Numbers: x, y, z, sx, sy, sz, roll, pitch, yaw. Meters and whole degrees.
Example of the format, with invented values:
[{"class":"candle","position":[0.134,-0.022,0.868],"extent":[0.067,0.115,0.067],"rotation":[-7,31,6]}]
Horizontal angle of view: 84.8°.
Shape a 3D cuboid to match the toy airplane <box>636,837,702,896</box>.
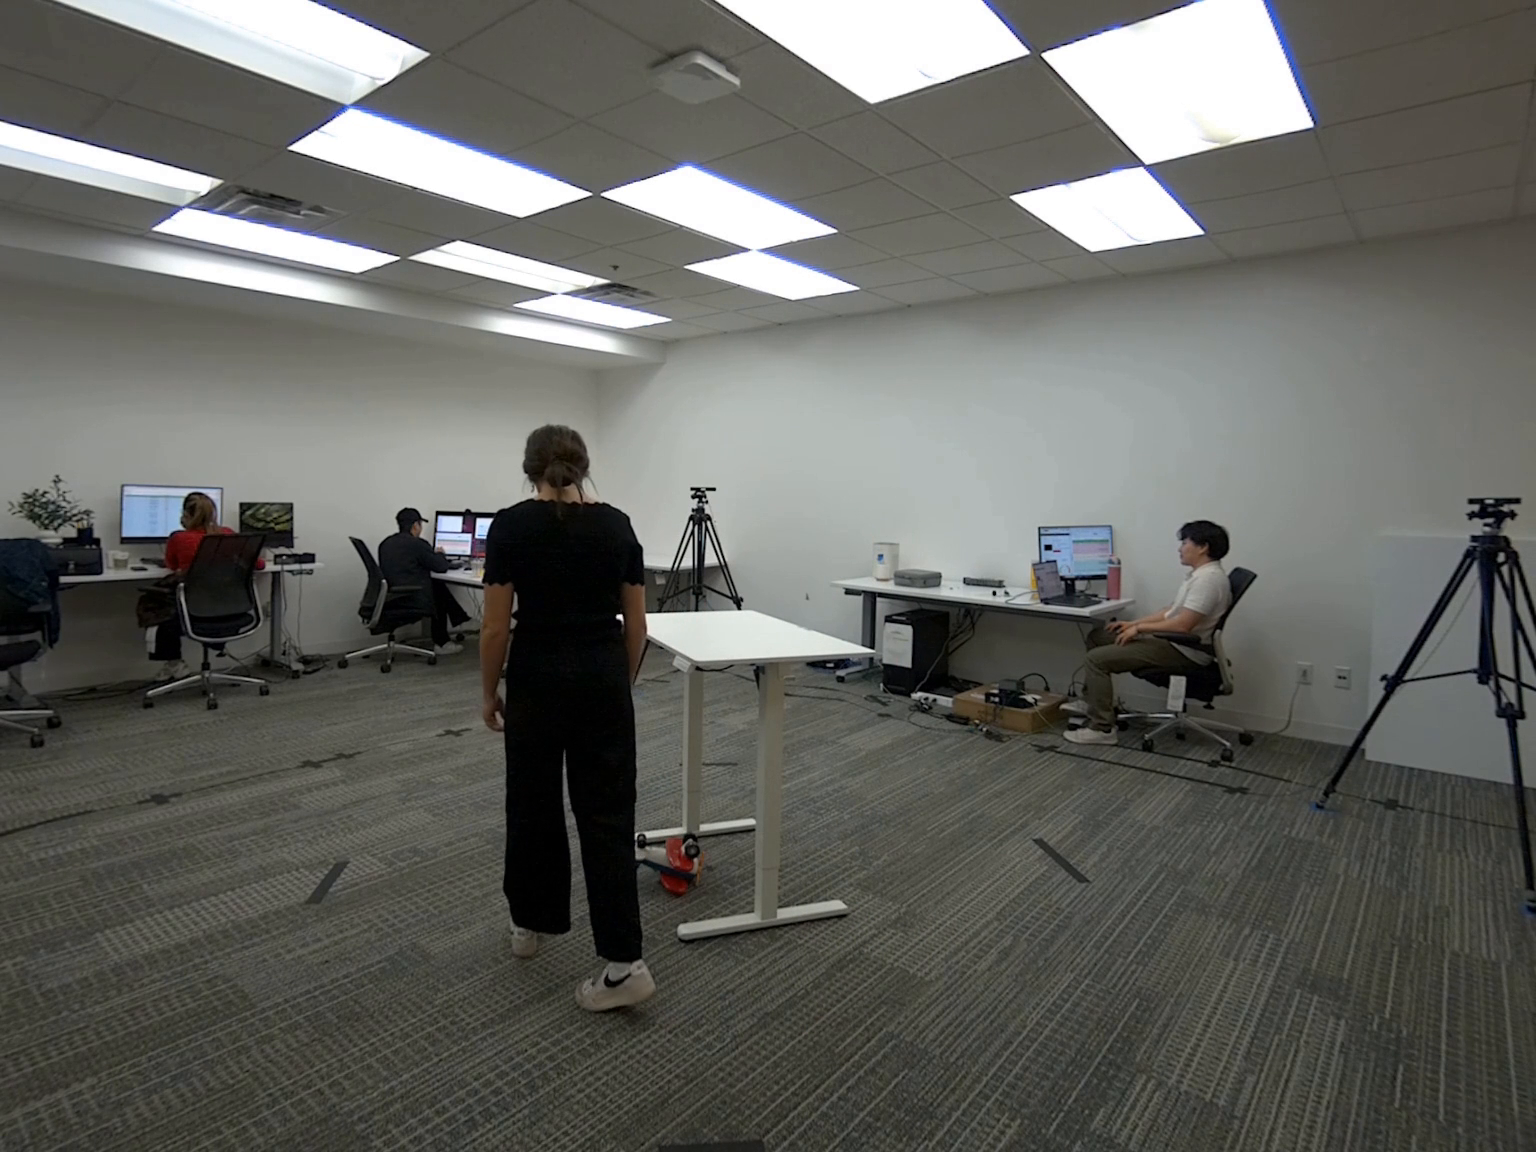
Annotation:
[{"class":"toy airplane","position":[-0.368,0.990,3.013],"extent":[0.265,0.156,0.246],"rotation":[6,3,19]}]
